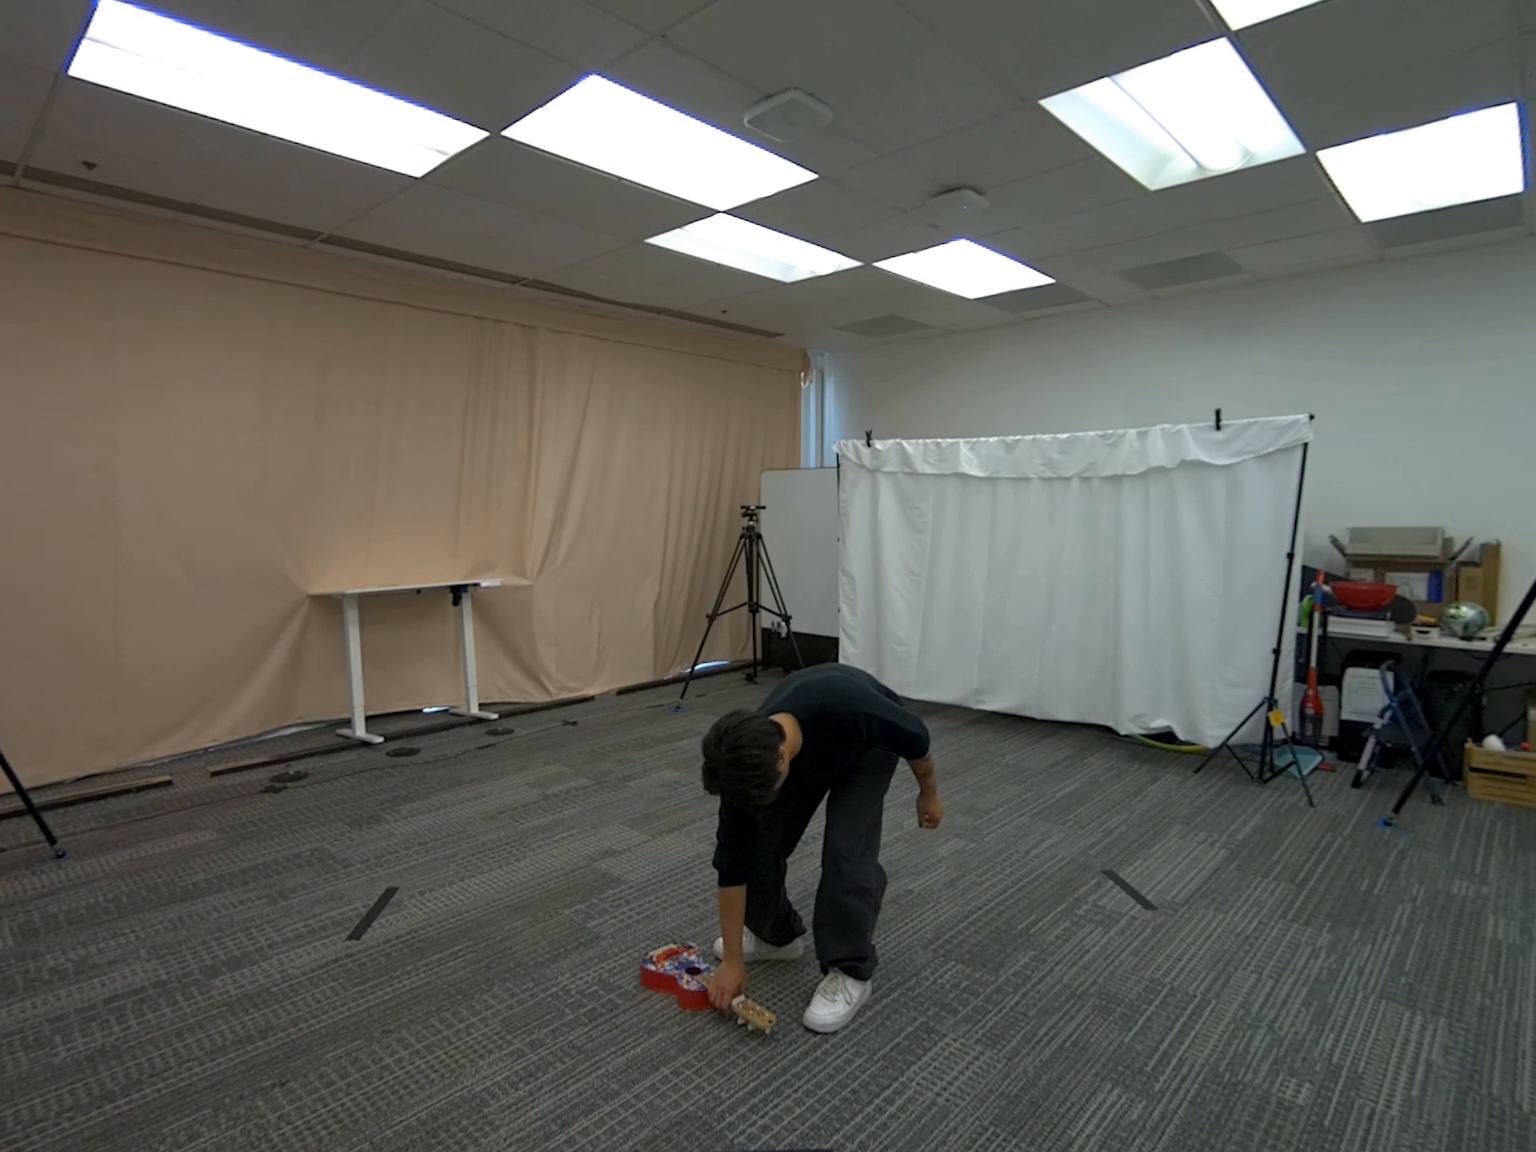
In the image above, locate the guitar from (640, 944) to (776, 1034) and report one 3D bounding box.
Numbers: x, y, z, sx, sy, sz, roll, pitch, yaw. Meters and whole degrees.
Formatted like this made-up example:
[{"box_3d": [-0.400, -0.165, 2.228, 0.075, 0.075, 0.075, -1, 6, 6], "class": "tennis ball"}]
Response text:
[{"box_3d": [-0.184, 1.171, 2.339, 0.187, 0.070, 0.513, -3, 5, -33], "class": "guitar"}]
